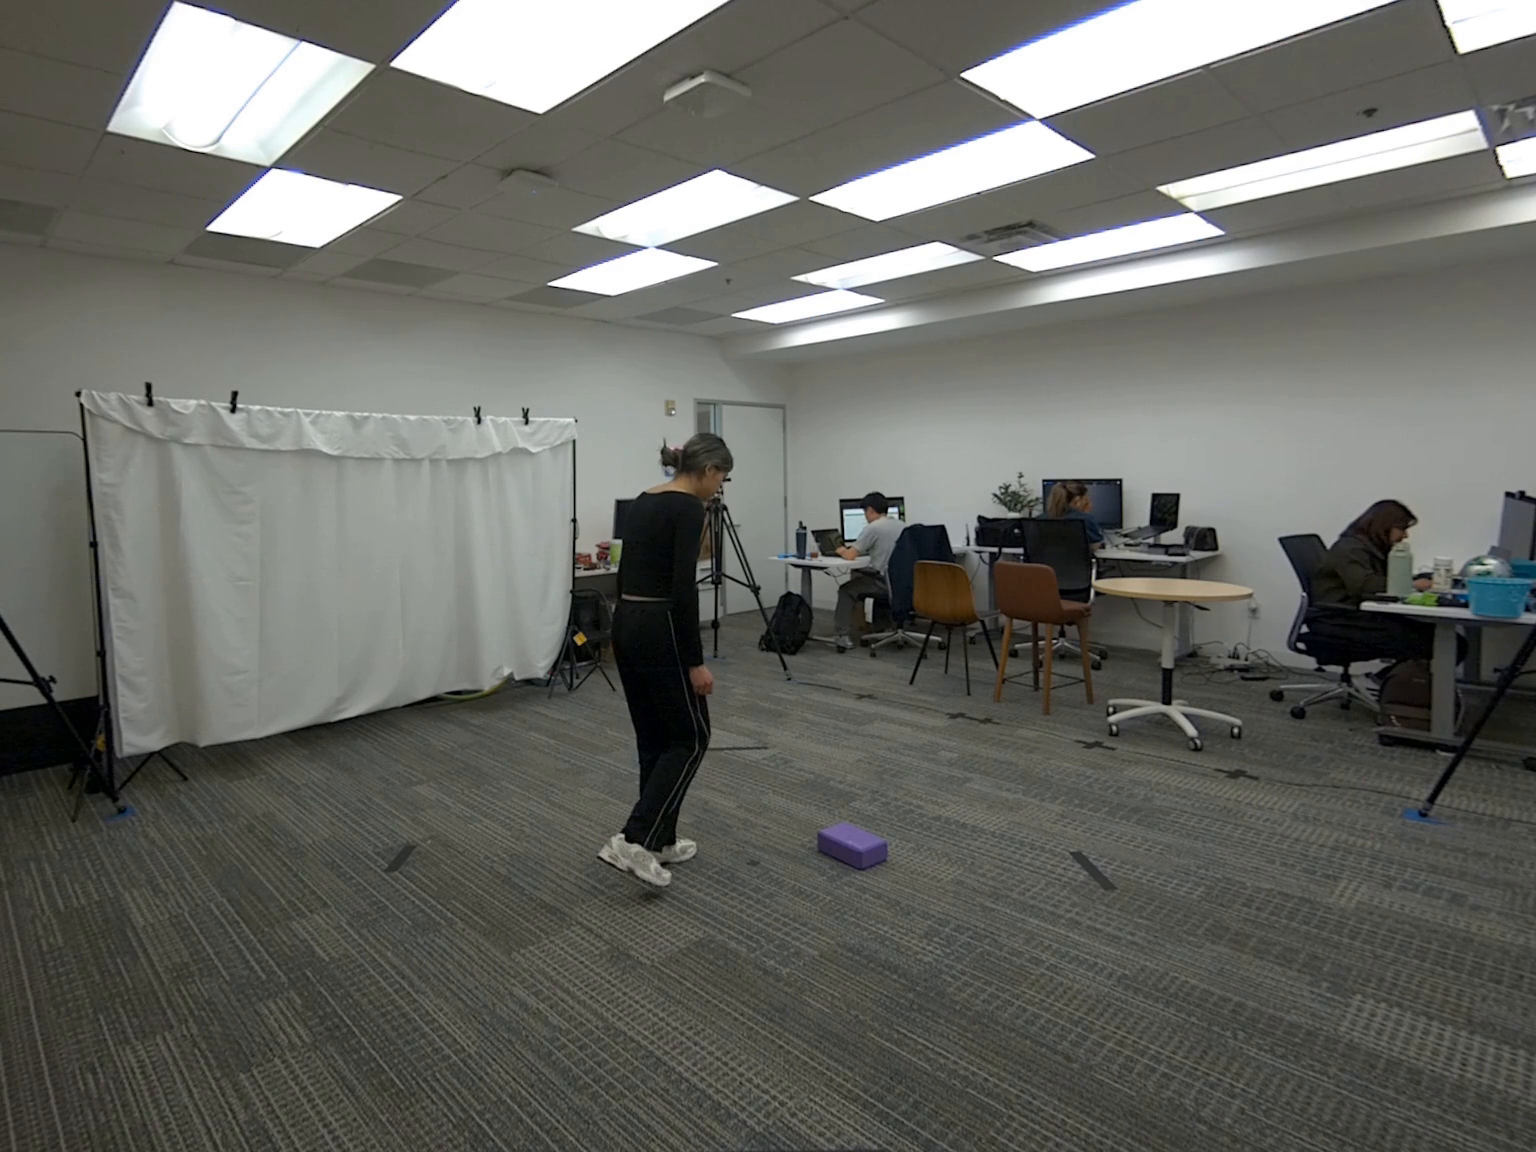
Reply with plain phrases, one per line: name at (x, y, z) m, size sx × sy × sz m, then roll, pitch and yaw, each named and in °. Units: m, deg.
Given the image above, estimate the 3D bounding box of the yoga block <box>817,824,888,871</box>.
yoga block at (0.312, 0.991, 3.152) m, size 0.145 × 0.076 × 0.236 m, roll -5°, pitch 7°, yaw -38°
